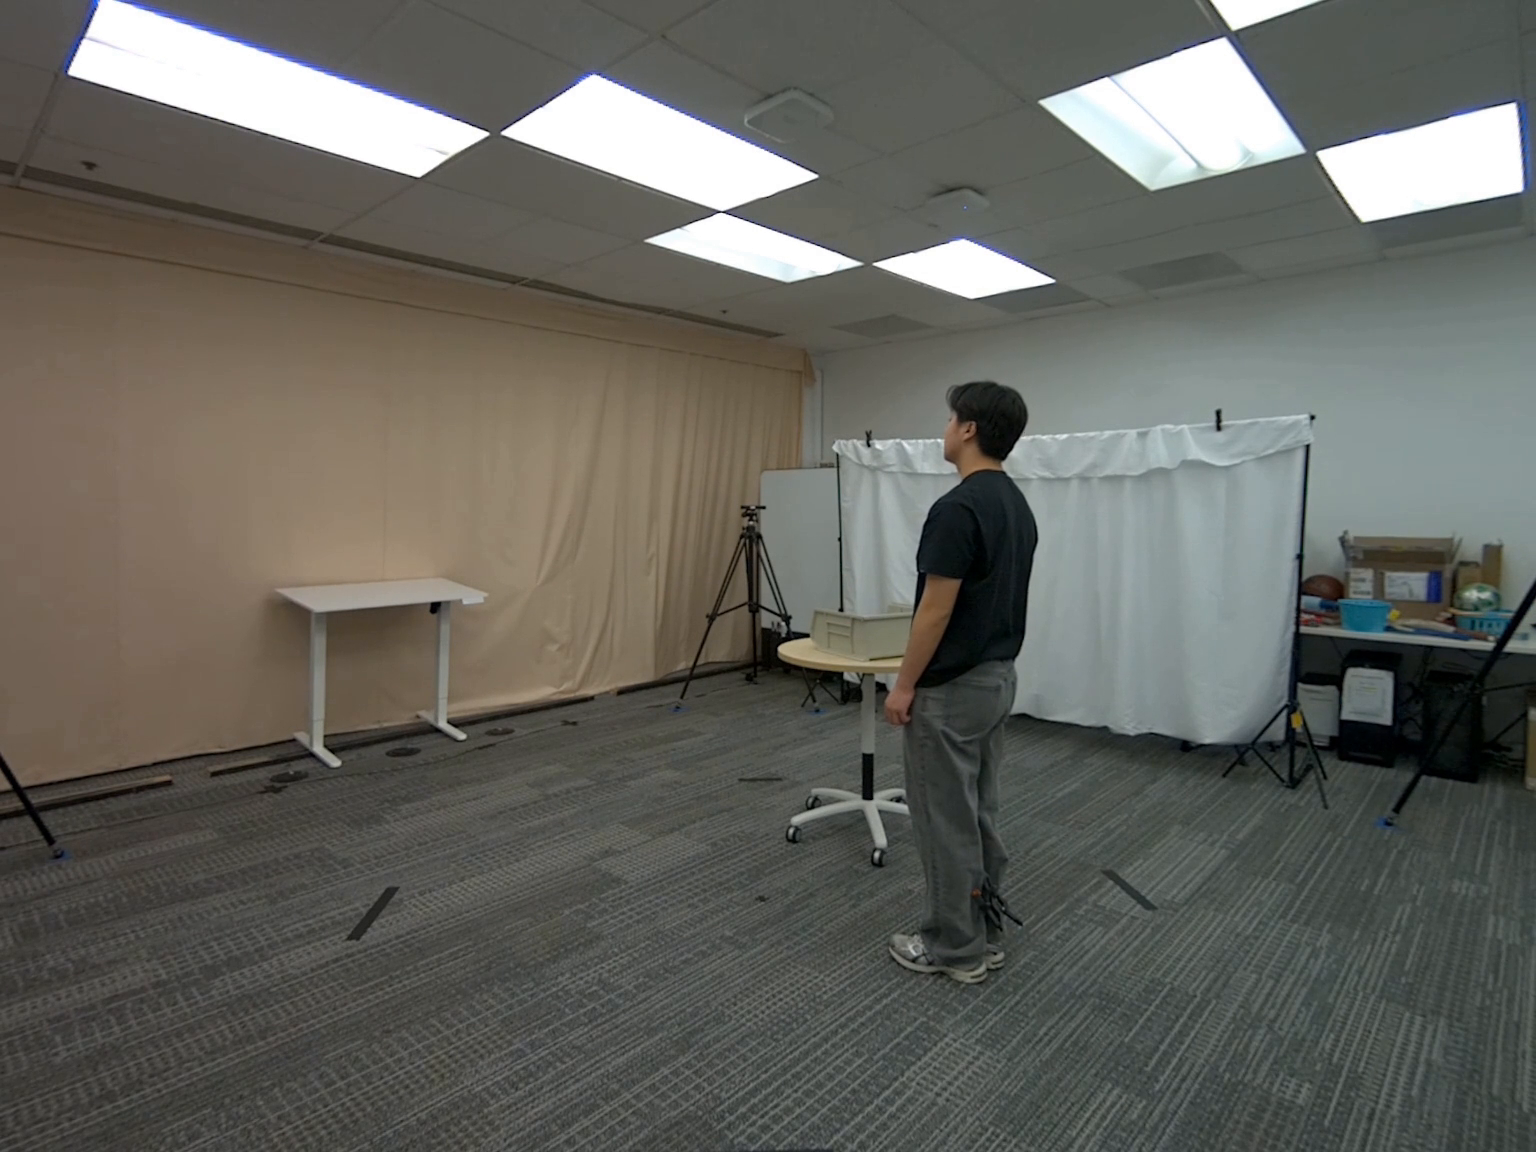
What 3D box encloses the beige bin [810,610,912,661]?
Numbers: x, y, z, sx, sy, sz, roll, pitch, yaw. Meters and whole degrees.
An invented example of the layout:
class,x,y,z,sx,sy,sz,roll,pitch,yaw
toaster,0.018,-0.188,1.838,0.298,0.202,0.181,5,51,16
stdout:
class,x,y,z,sx,sy,sz,roll,pitch,yaw
beige bin,0.454,0.226,3.524,0.411,0.188,0.388,-3,6,-30
